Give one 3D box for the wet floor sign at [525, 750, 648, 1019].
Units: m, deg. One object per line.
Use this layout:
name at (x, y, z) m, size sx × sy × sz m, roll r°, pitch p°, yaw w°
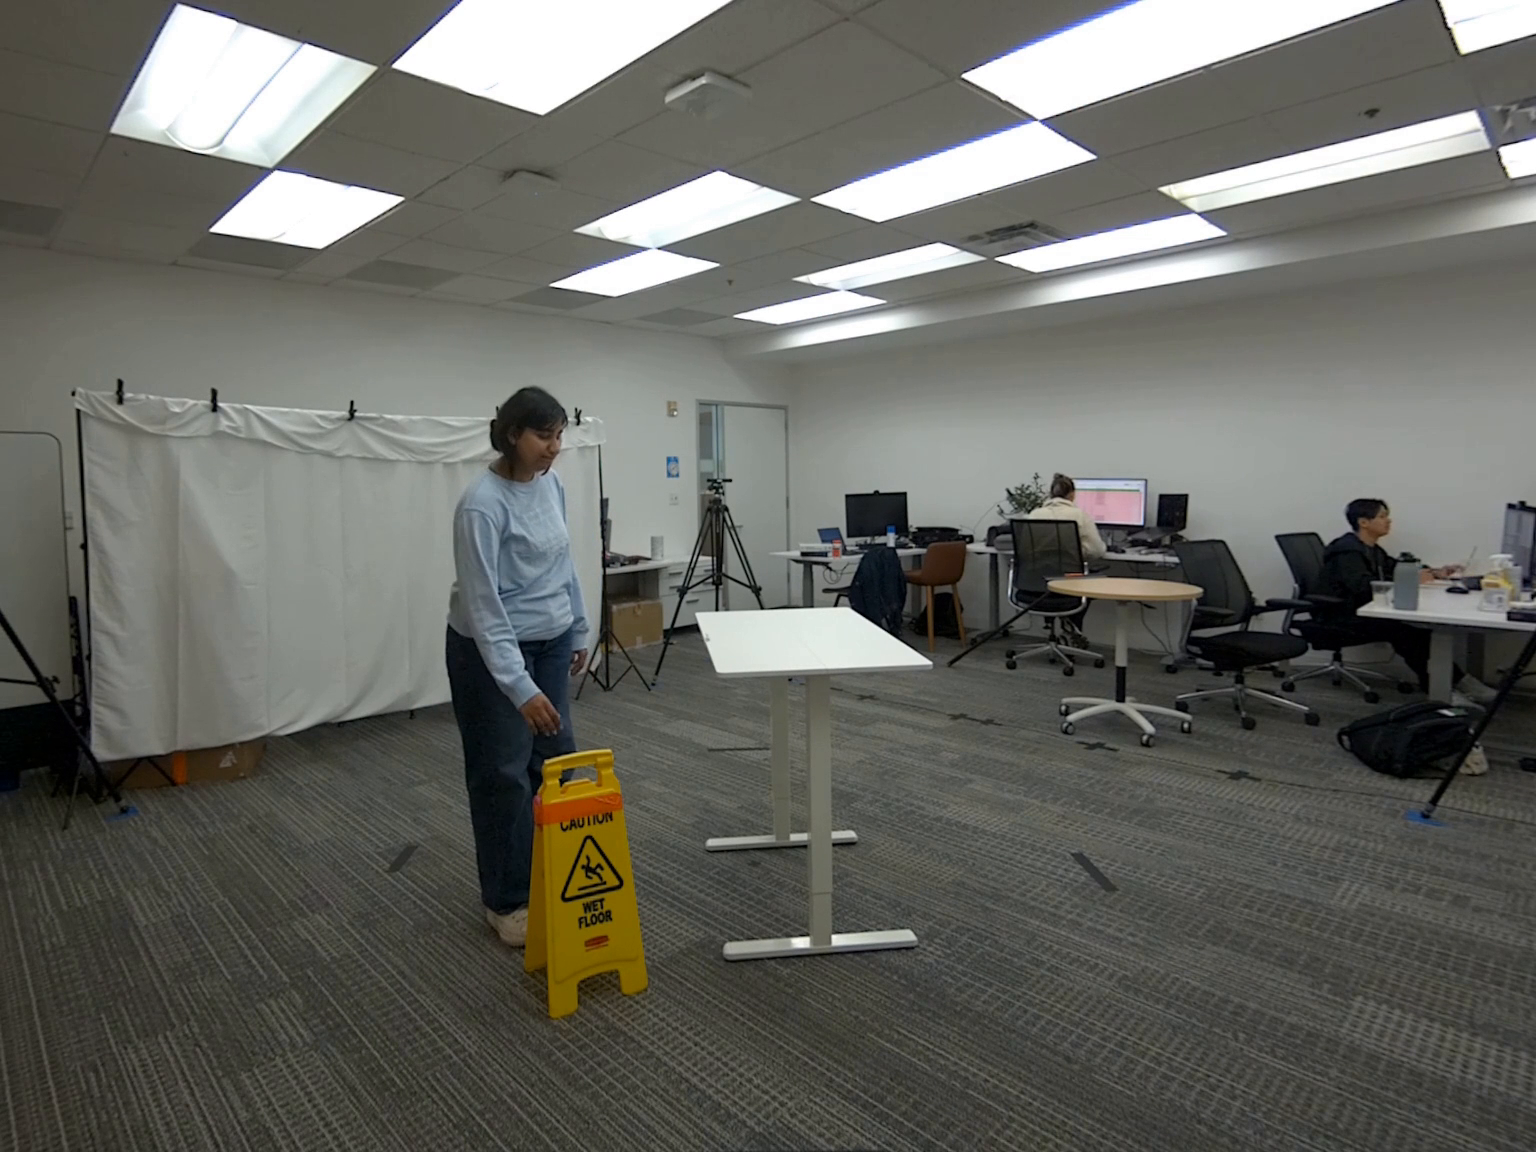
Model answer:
wet floor sign at (-0.517, 0.816, 2.384) m, size 0.276 × 0.643 × 0.297 m, roll -4°, pitch 6°, yaw -28°
